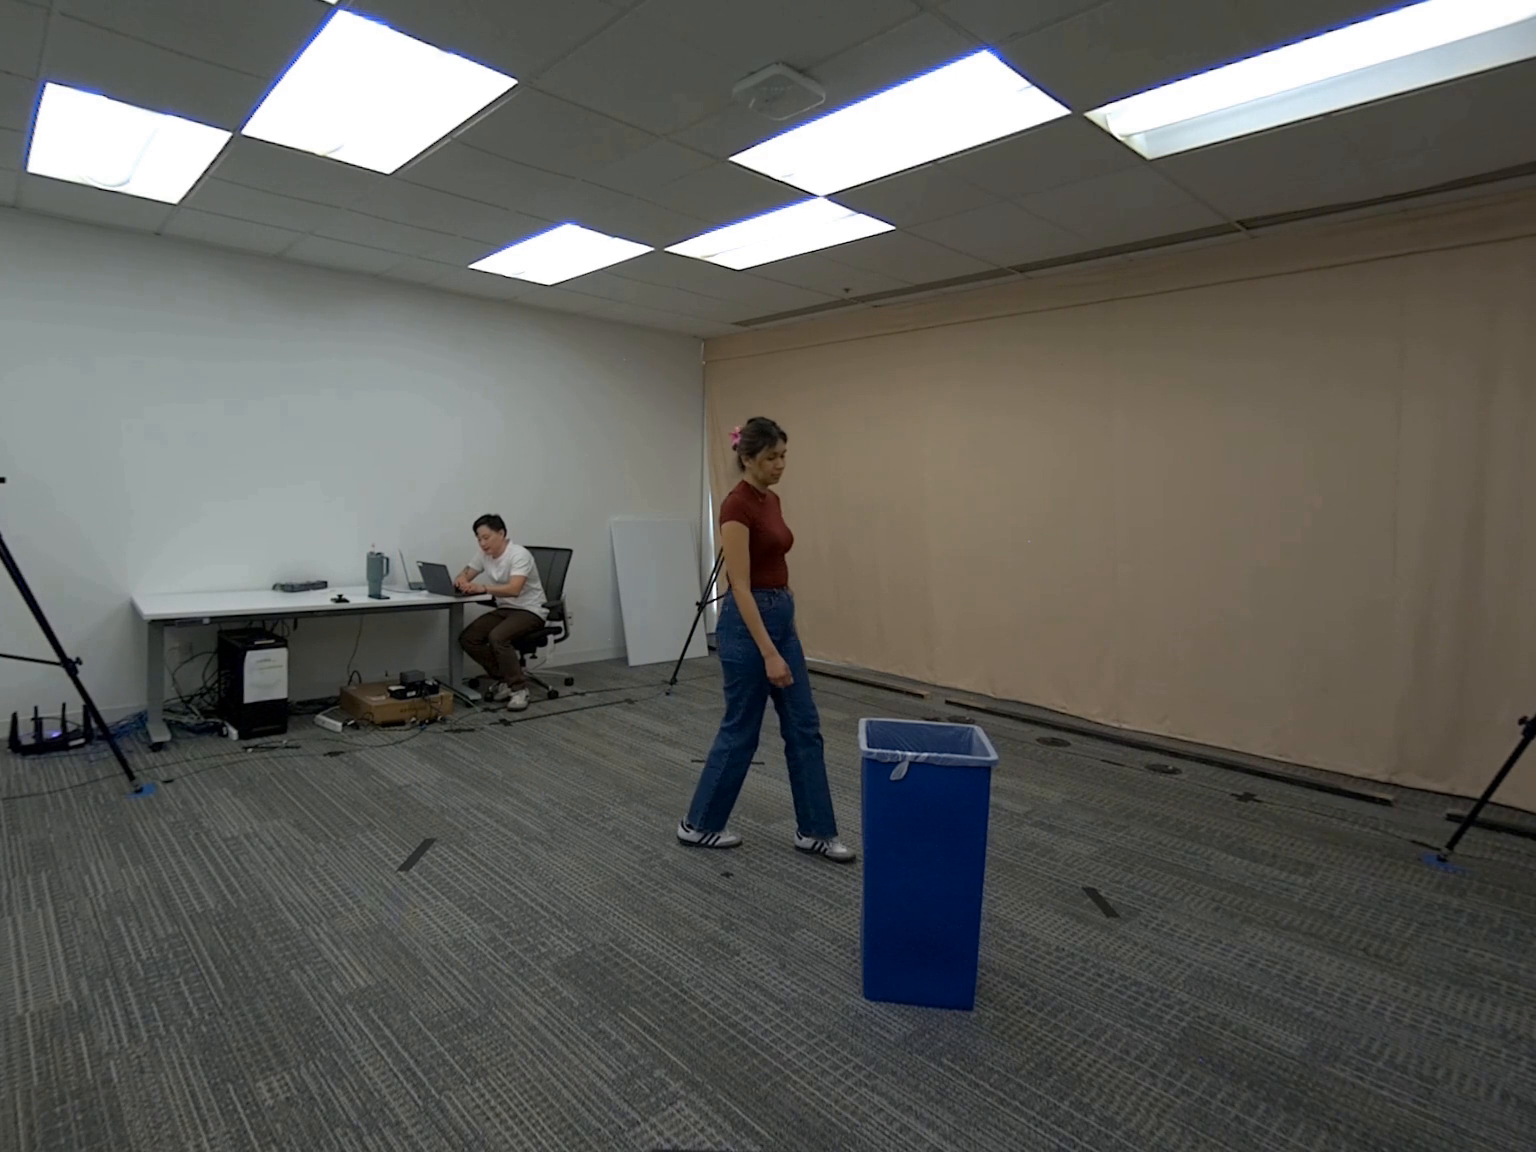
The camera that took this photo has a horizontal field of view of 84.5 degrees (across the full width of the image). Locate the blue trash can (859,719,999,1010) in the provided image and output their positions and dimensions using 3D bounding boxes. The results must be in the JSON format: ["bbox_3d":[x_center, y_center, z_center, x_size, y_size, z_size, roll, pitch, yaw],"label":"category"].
[{"bbox_3d":[0.435,0.822,2.456,0.381,0.712,0.372,2,4,7],"label":"blue trash can"}]
